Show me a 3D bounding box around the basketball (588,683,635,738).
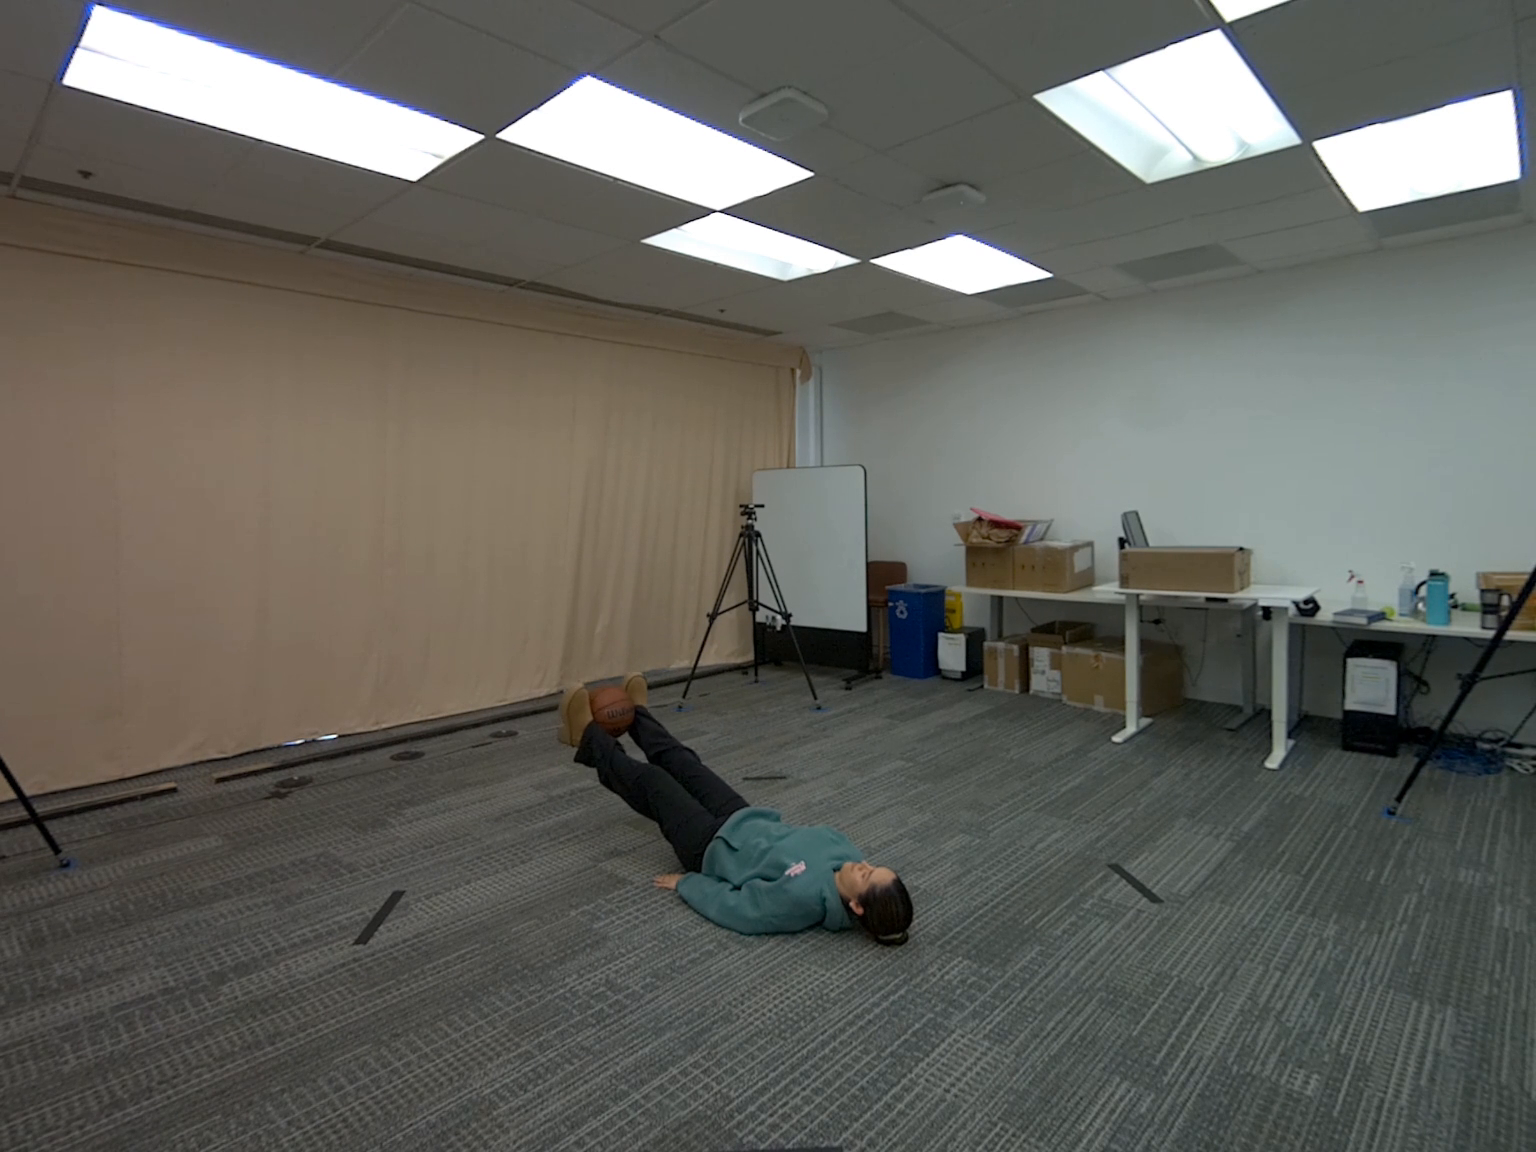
[{"bbox_3d":[-0.701,0.591,3.646,0.236,0.235,0.237,0,4,-2],"label":"basketball"}]
